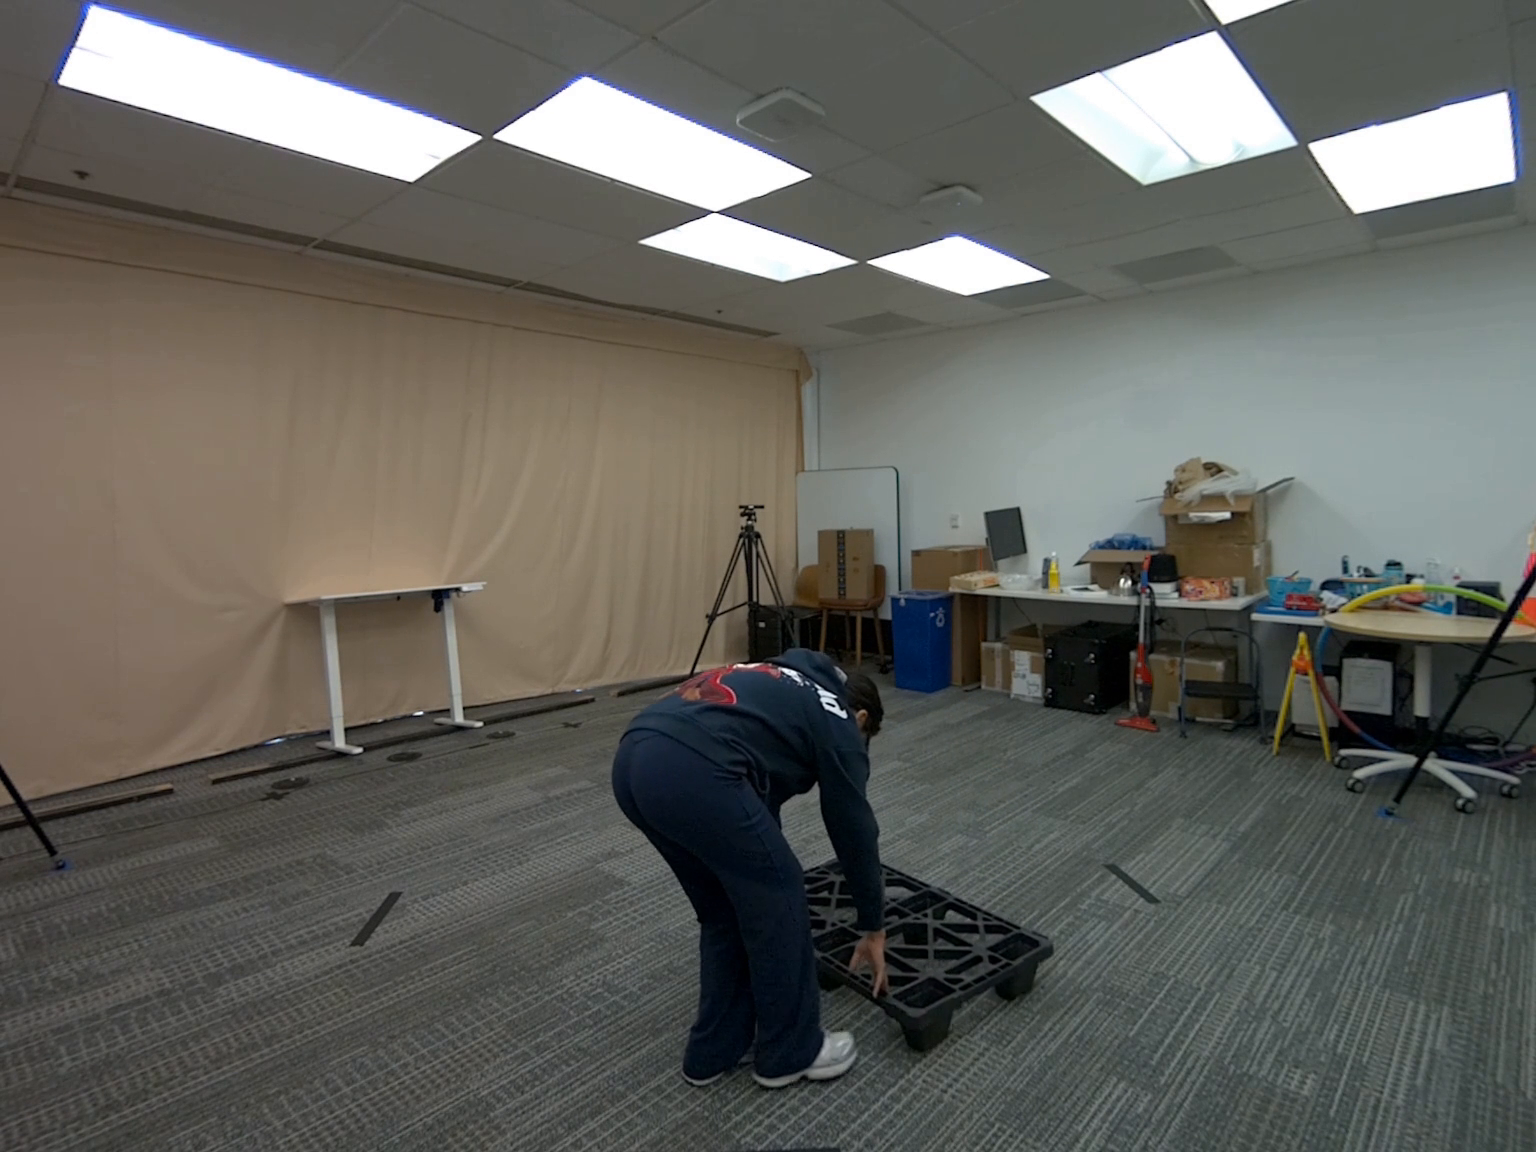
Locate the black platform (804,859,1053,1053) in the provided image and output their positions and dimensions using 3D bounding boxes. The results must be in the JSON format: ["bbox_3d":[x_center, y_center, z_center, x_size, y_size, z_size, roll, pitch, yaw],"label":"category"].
[{"bbox_3d":[0.342,1.106,2.550,0.588,0.143,0.831,-5,6,-37],"label":"black platform"}]
